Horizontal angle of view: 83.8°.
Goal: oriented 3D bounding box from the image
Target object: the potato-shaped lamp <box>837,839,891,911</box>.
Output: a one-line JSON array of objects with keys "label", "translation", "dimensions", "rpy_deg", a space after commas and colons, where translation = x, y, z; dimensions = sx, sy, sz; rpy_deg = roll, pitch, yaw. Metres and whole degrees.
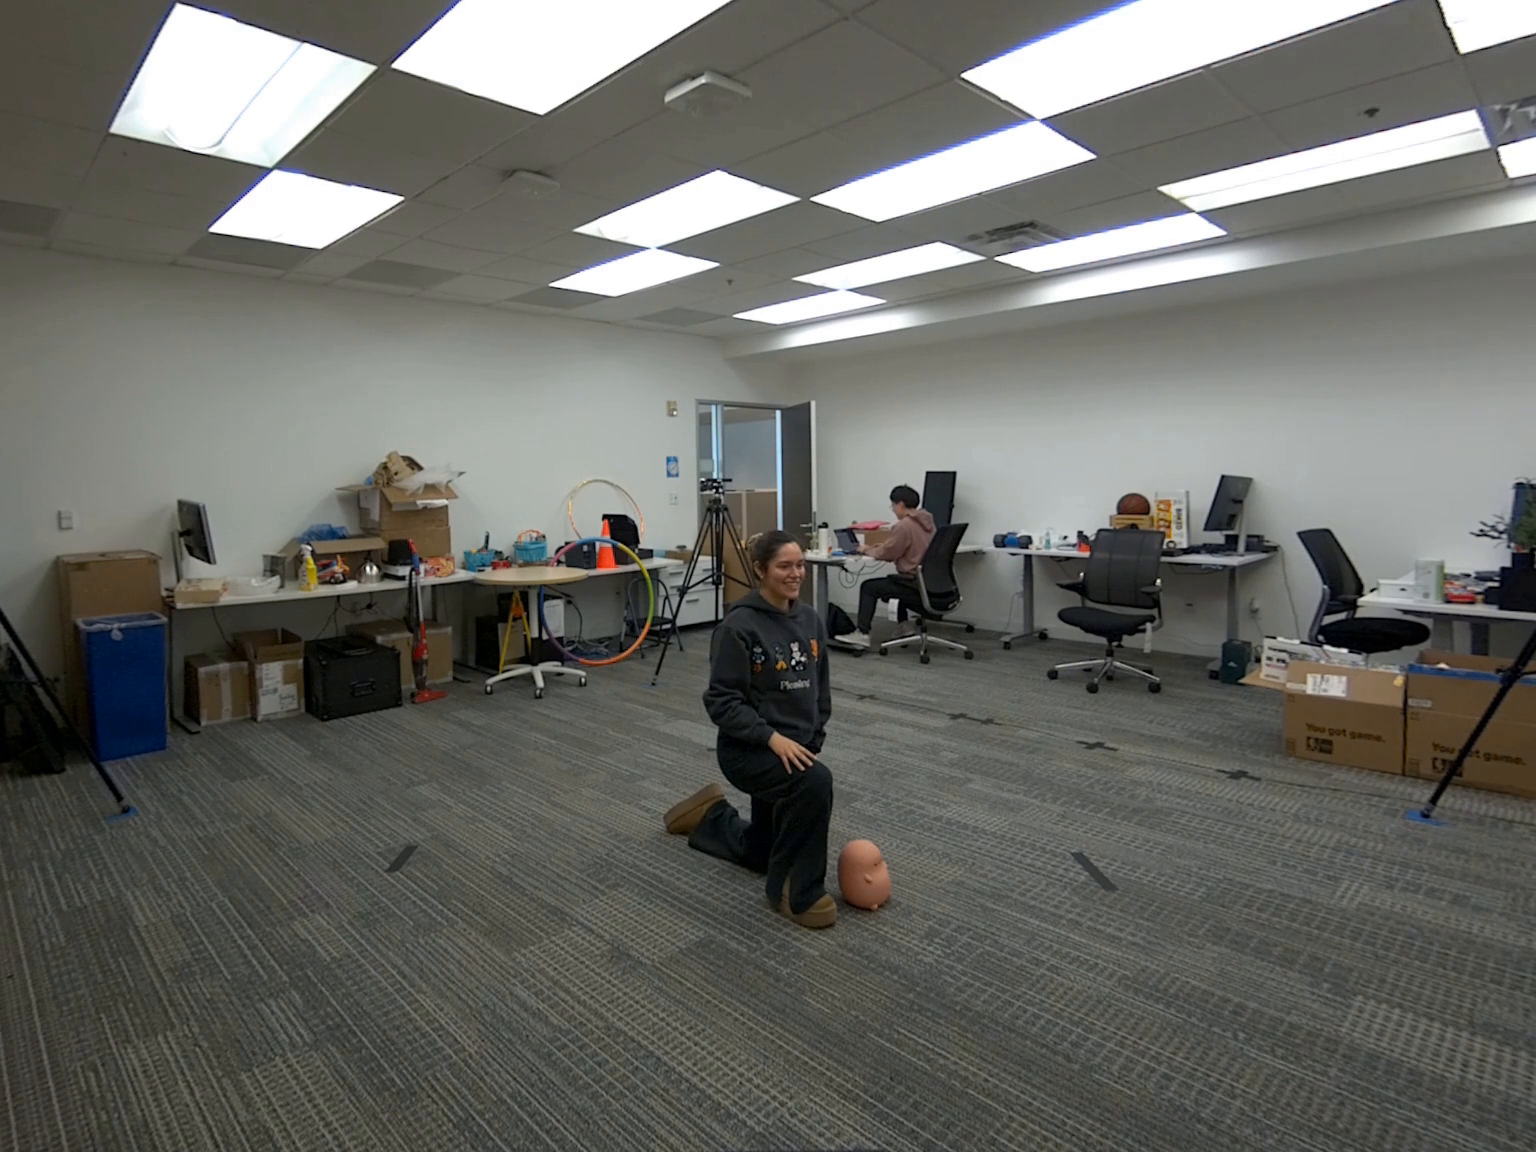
[{"label": "potato-shaped lamp", "translation": [0.323, 0.974, 2.804], "dimensions": [0.176, 0.197, 0.160], "rpy_deg": [1, 6, 41]}]
